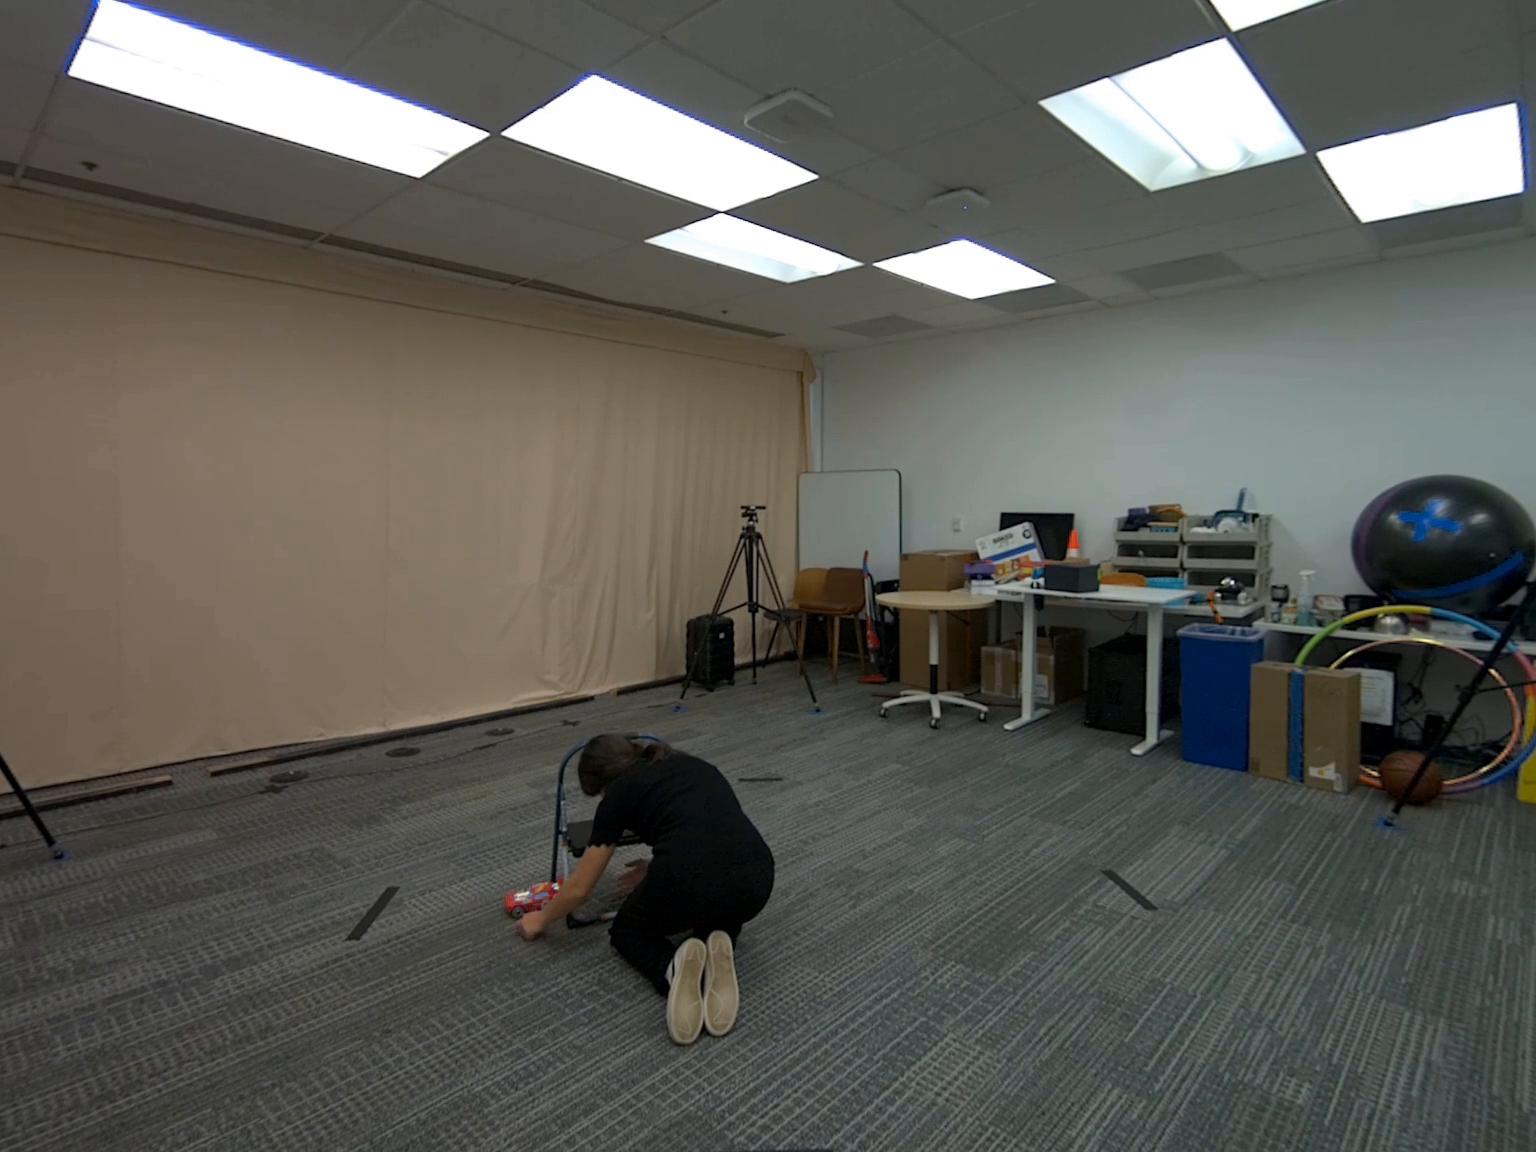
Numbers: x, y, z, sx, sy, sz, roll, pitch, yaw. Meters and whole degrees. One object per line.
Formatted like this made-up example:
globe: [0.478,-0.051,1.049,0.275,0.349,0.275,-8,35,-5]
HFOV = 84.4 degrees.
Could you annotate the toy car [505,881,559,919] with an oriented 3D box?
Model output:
toy car: [-0.788,1.129,2.935,0.250,0.083,0.133,-13,7,-20]
